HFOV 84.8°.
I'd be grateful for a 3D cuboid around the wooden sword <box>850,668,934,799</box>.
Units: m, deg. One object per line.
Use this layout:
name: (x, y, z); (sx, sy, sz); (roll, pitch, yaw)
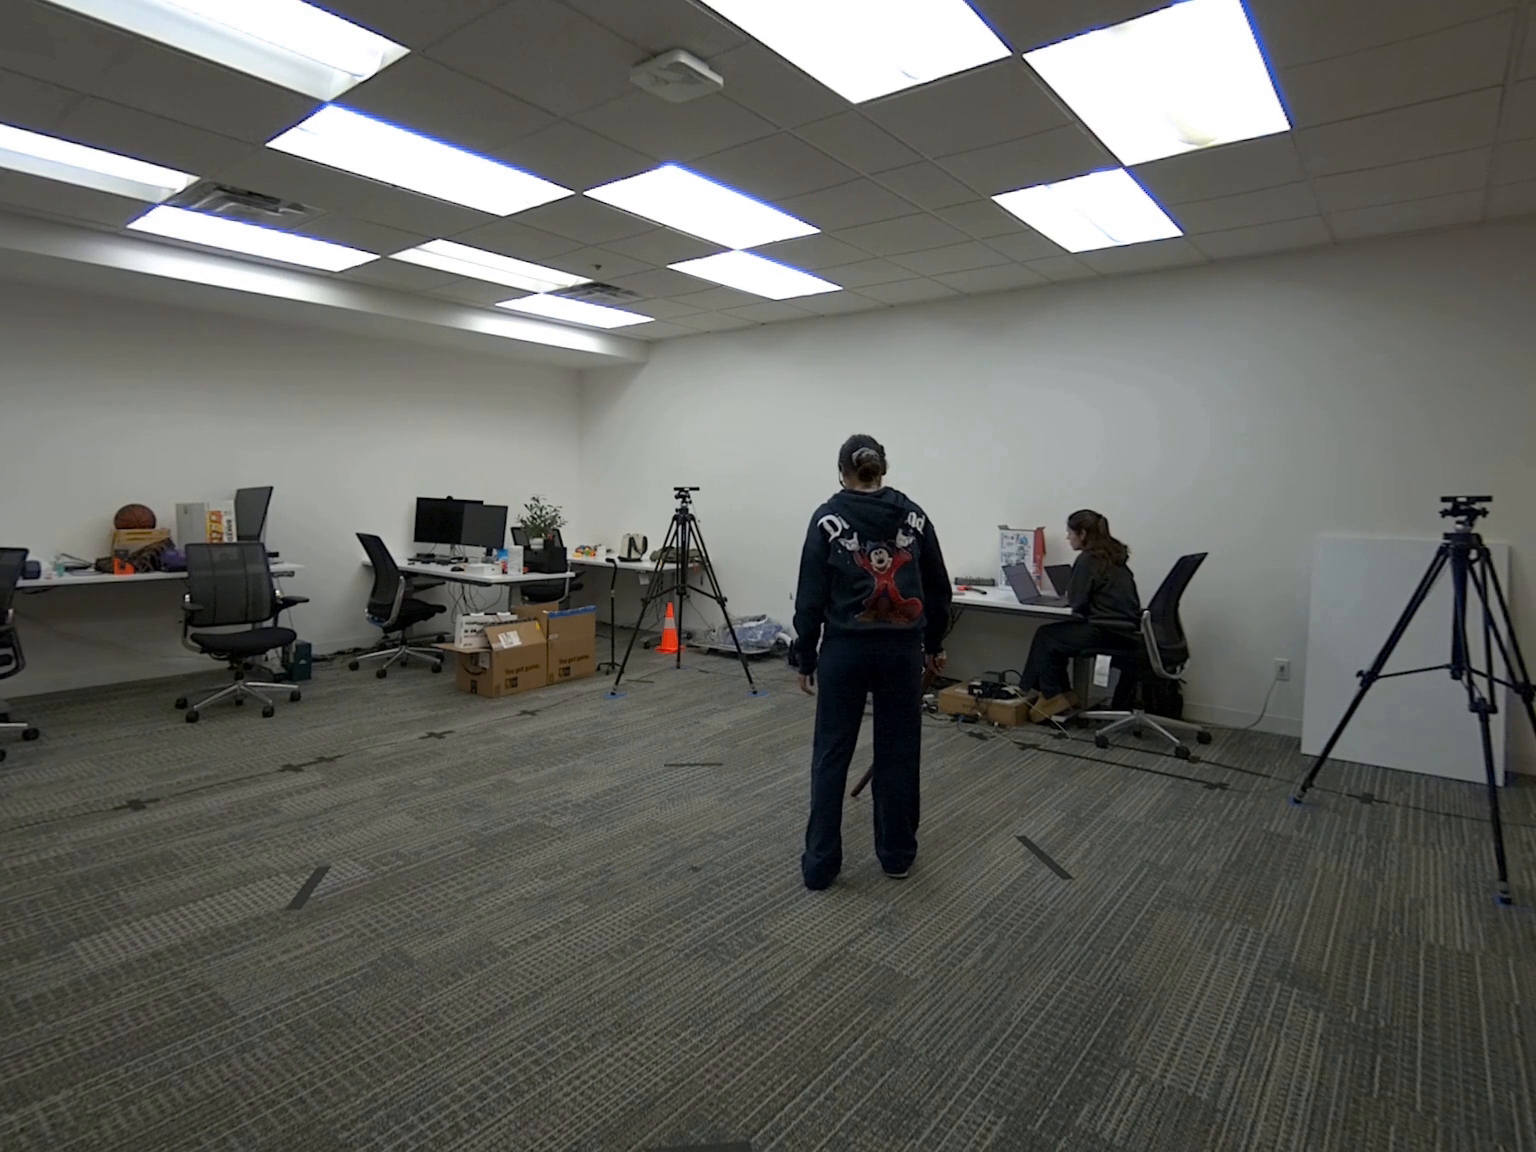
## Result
wooden sword: (0.504, 0.653, 3.546); (0.050, 0.025, 1.008); (1, -43, -22)
